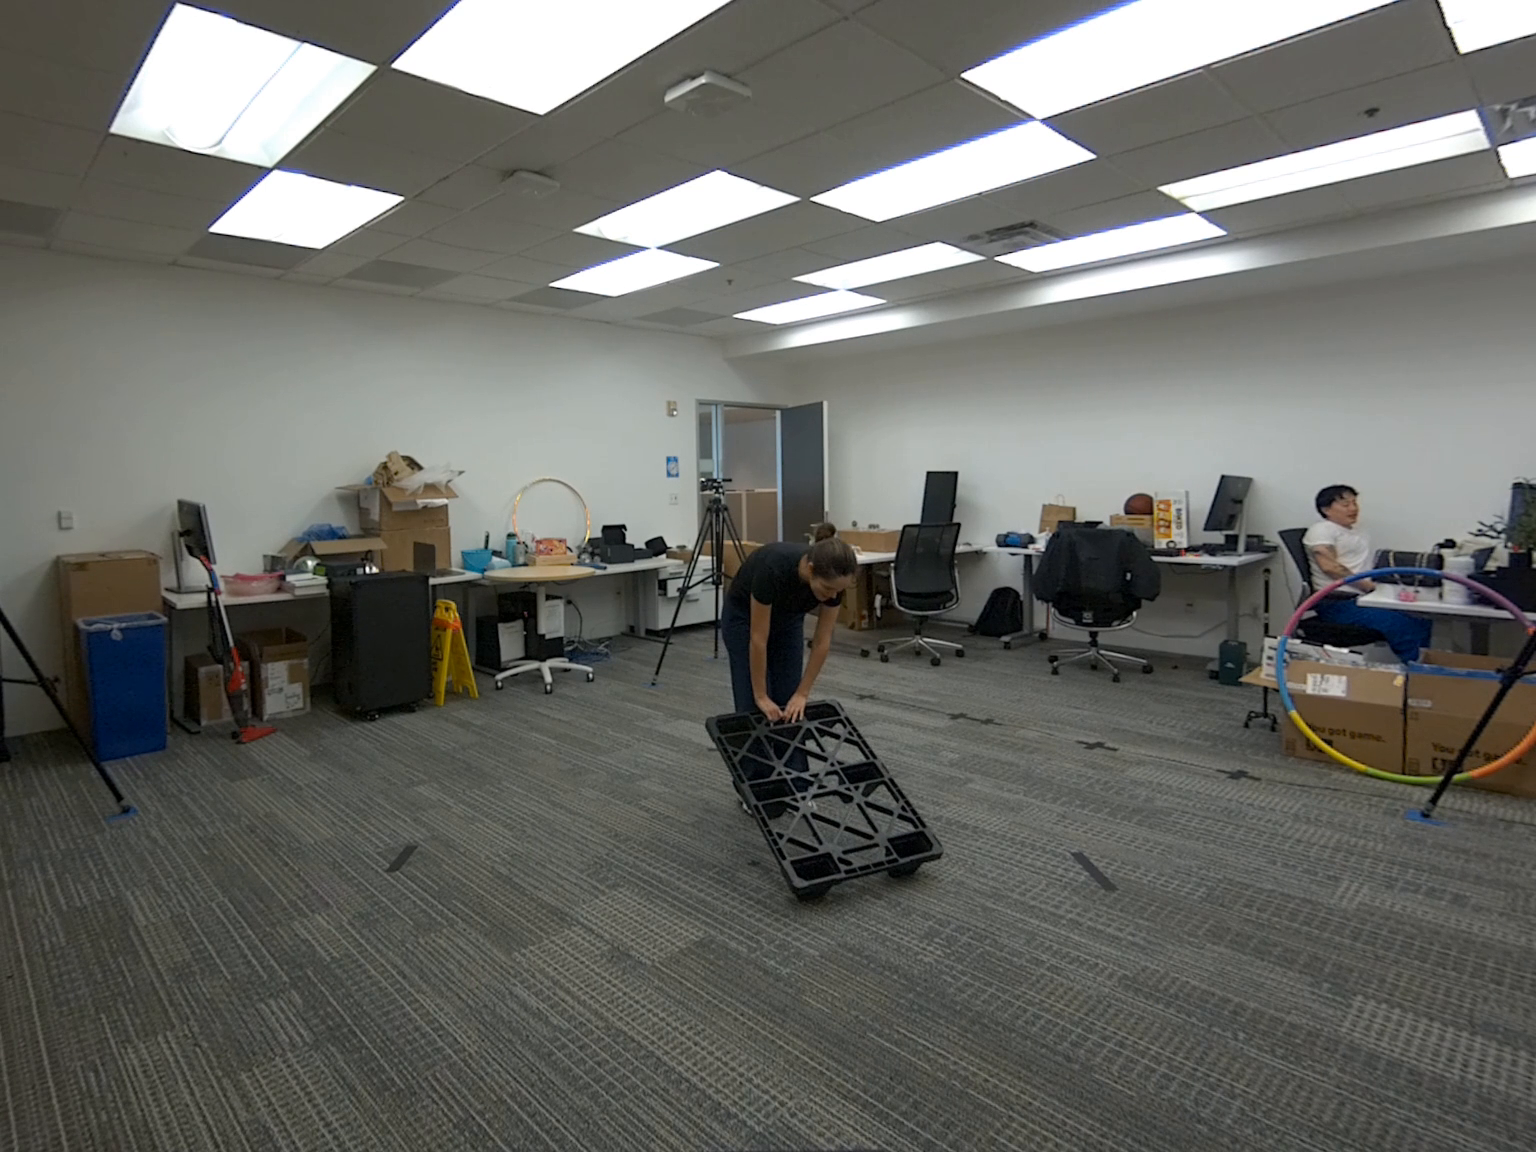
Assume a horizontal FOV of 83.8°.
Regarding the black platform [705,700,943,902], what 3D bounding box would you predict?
[{"bbox_3d":[0.166,0.809,3.180,0.593,0.141,0.837,-5,34,-25],"label":"black platform"}]
